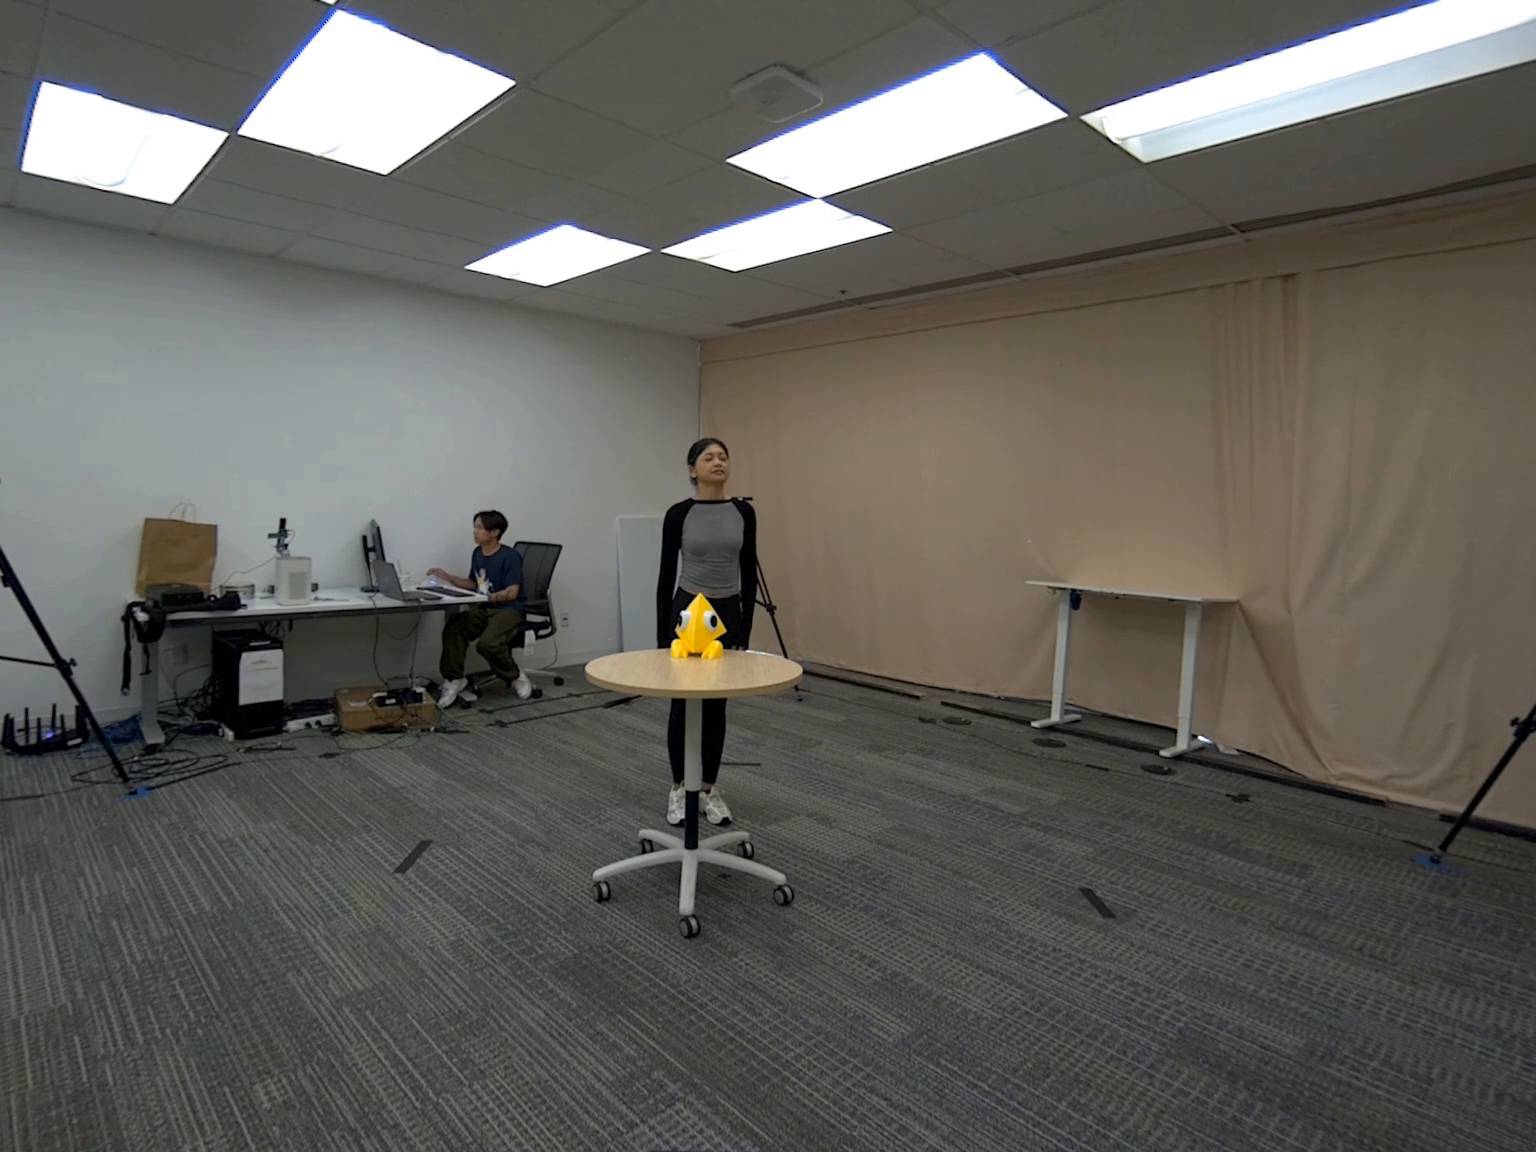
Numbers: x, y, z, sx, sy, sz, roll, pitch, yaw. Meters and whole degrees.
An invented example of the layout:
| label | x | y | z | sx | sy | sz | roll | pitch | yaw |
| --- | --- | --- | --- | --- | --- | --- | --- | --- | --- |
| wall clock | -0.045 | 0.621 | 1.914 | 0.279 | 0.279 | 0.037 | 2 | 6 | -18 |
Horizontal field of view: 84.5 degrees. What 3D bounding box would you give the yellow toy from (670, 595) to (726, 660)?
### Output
| label | x | y | z | sx | sy | sz | roll | pitch | yaw |
| --- | --- | --- | --- | --- | --- | --- | --- | --- | --- |
| yellow toy | -0.280 | 0.186 | 3.228 | 0.206 | 0.230 | 0.192 | 1 | 4 | 6 |
